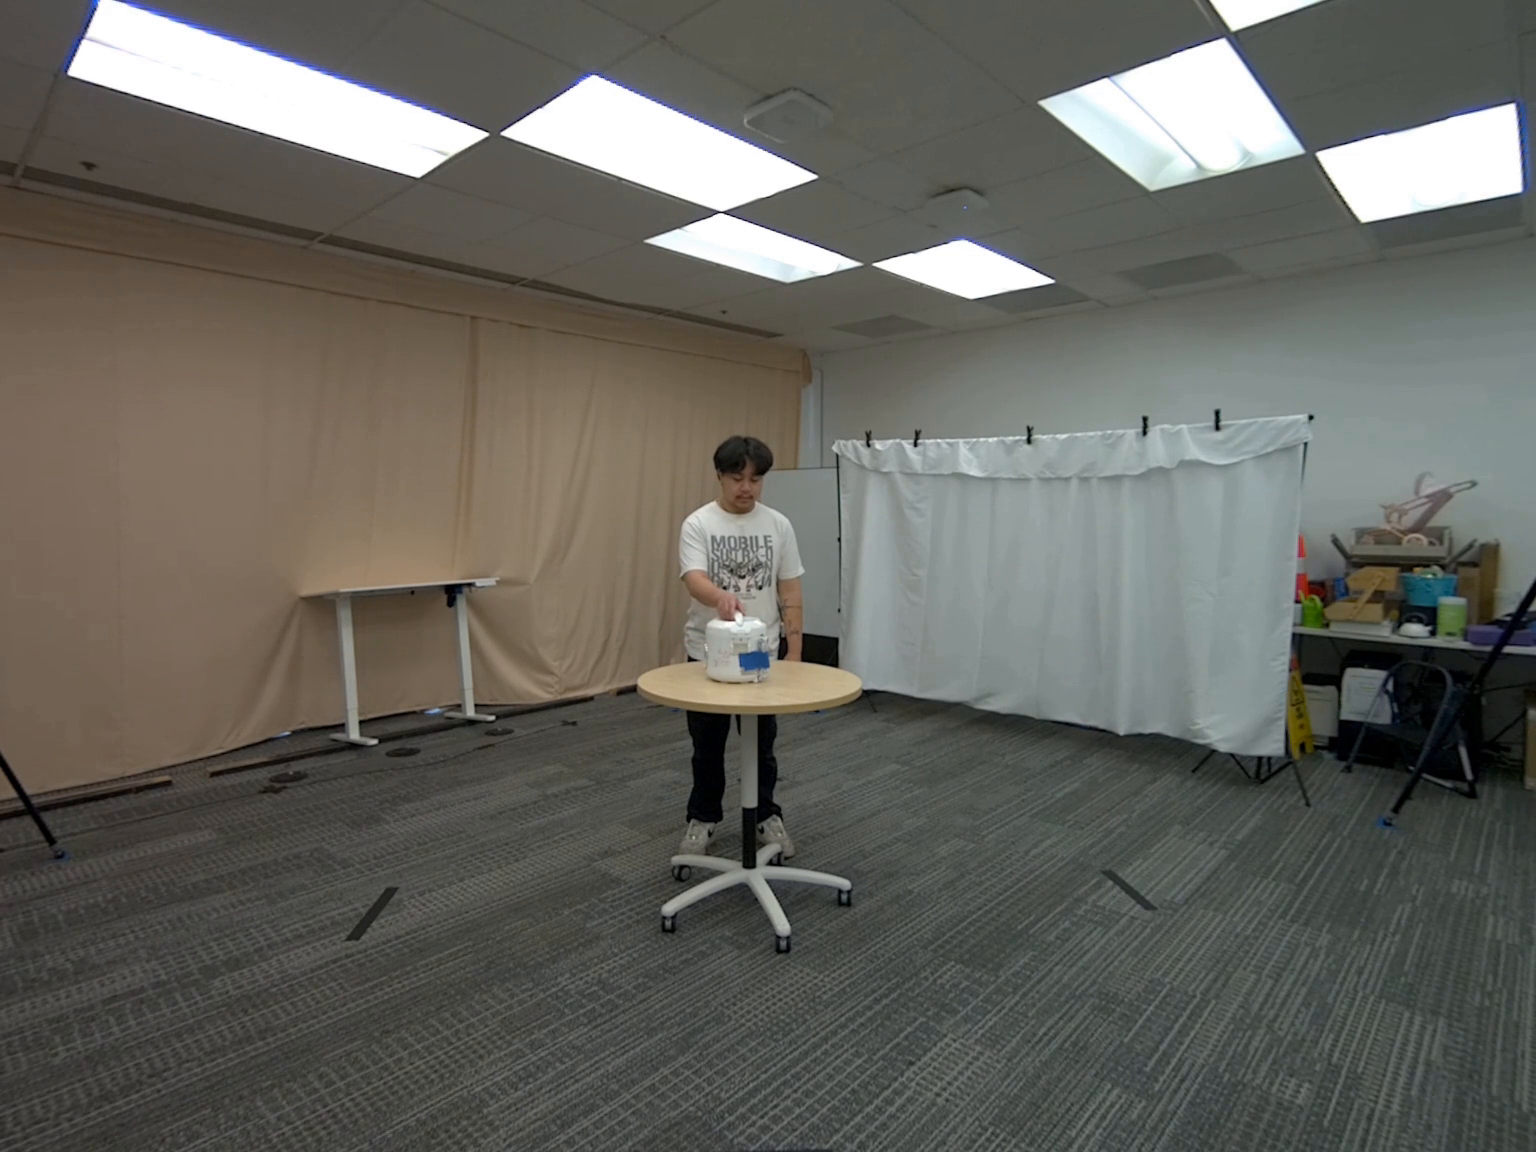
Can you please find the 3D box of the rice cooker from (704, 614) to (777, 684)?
[{"bbox_3d":[-0.106,0.235,2.894,0.216,0.232,0.223,0,3,-8],"label":"rice cooker"}]
